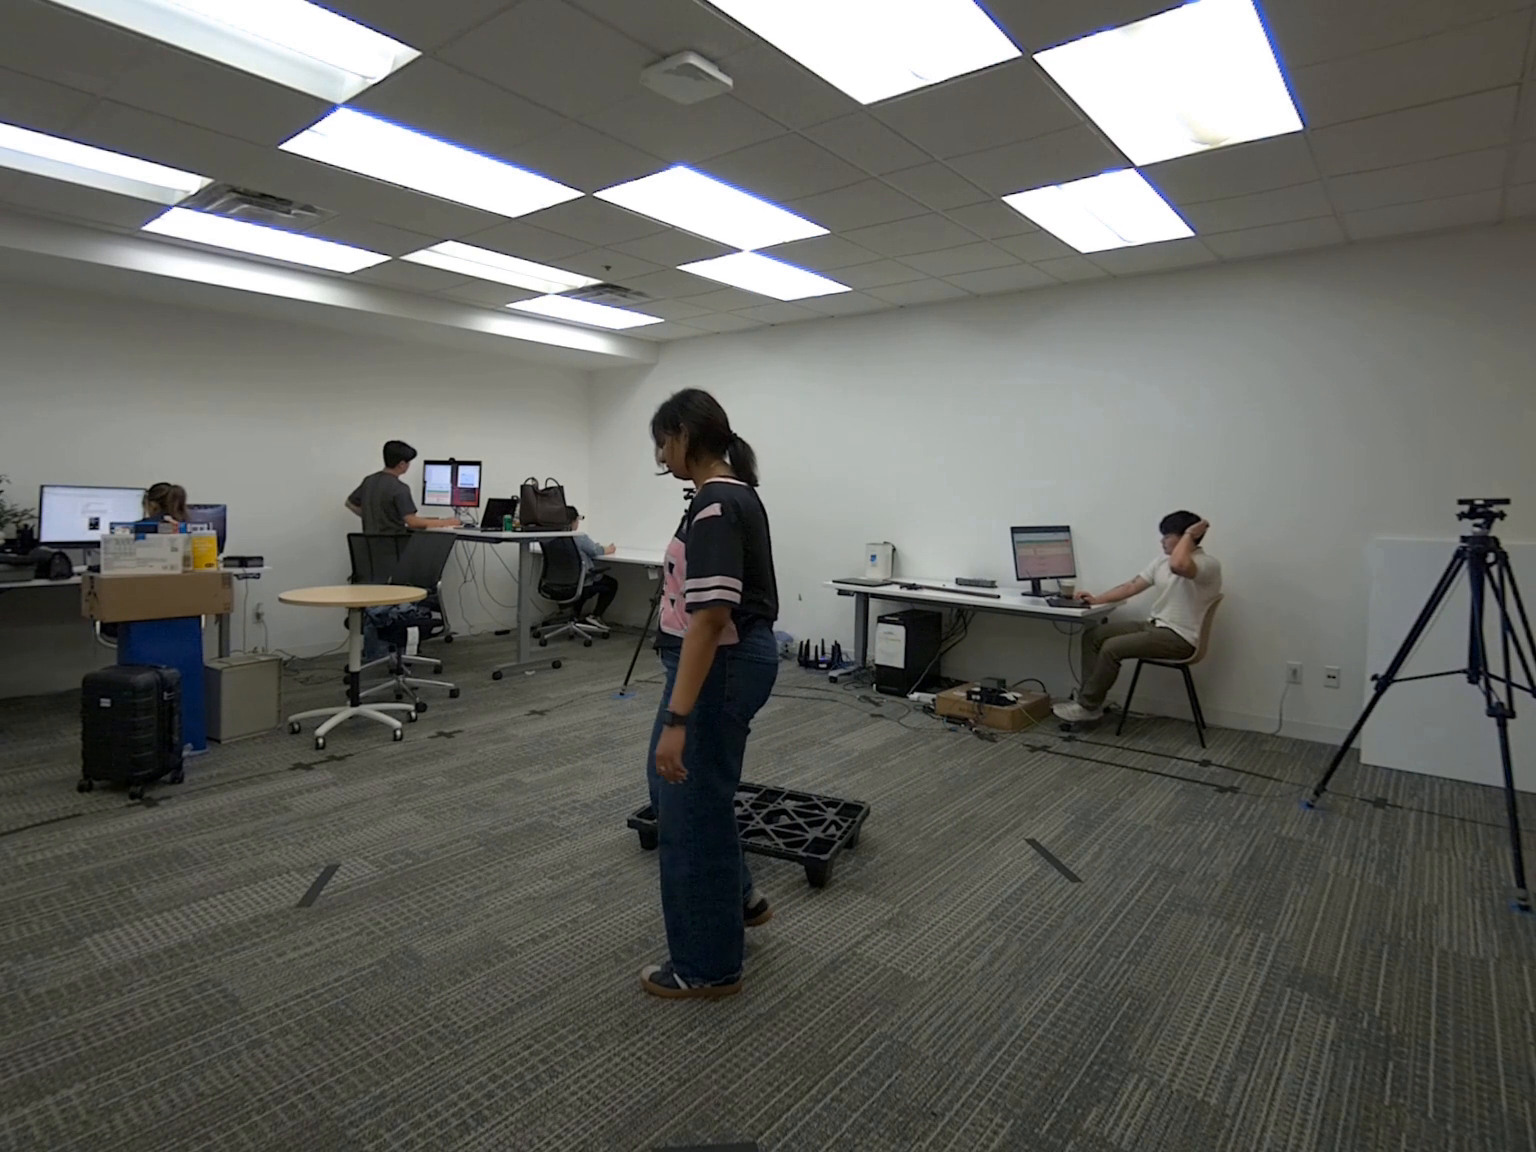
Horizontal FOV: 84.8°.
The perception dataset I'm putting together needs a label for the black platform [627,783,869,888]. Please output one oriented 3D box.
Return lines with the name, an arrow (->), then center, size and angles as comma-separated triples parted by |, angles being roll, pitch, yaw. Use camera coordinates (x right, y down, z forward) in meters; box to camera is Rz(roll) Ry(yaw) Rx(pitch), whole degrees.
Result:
black platform -> -0.074, 0.981, 3.341 | 0.826, 0.143, 0.592 | 4, 5, 23
